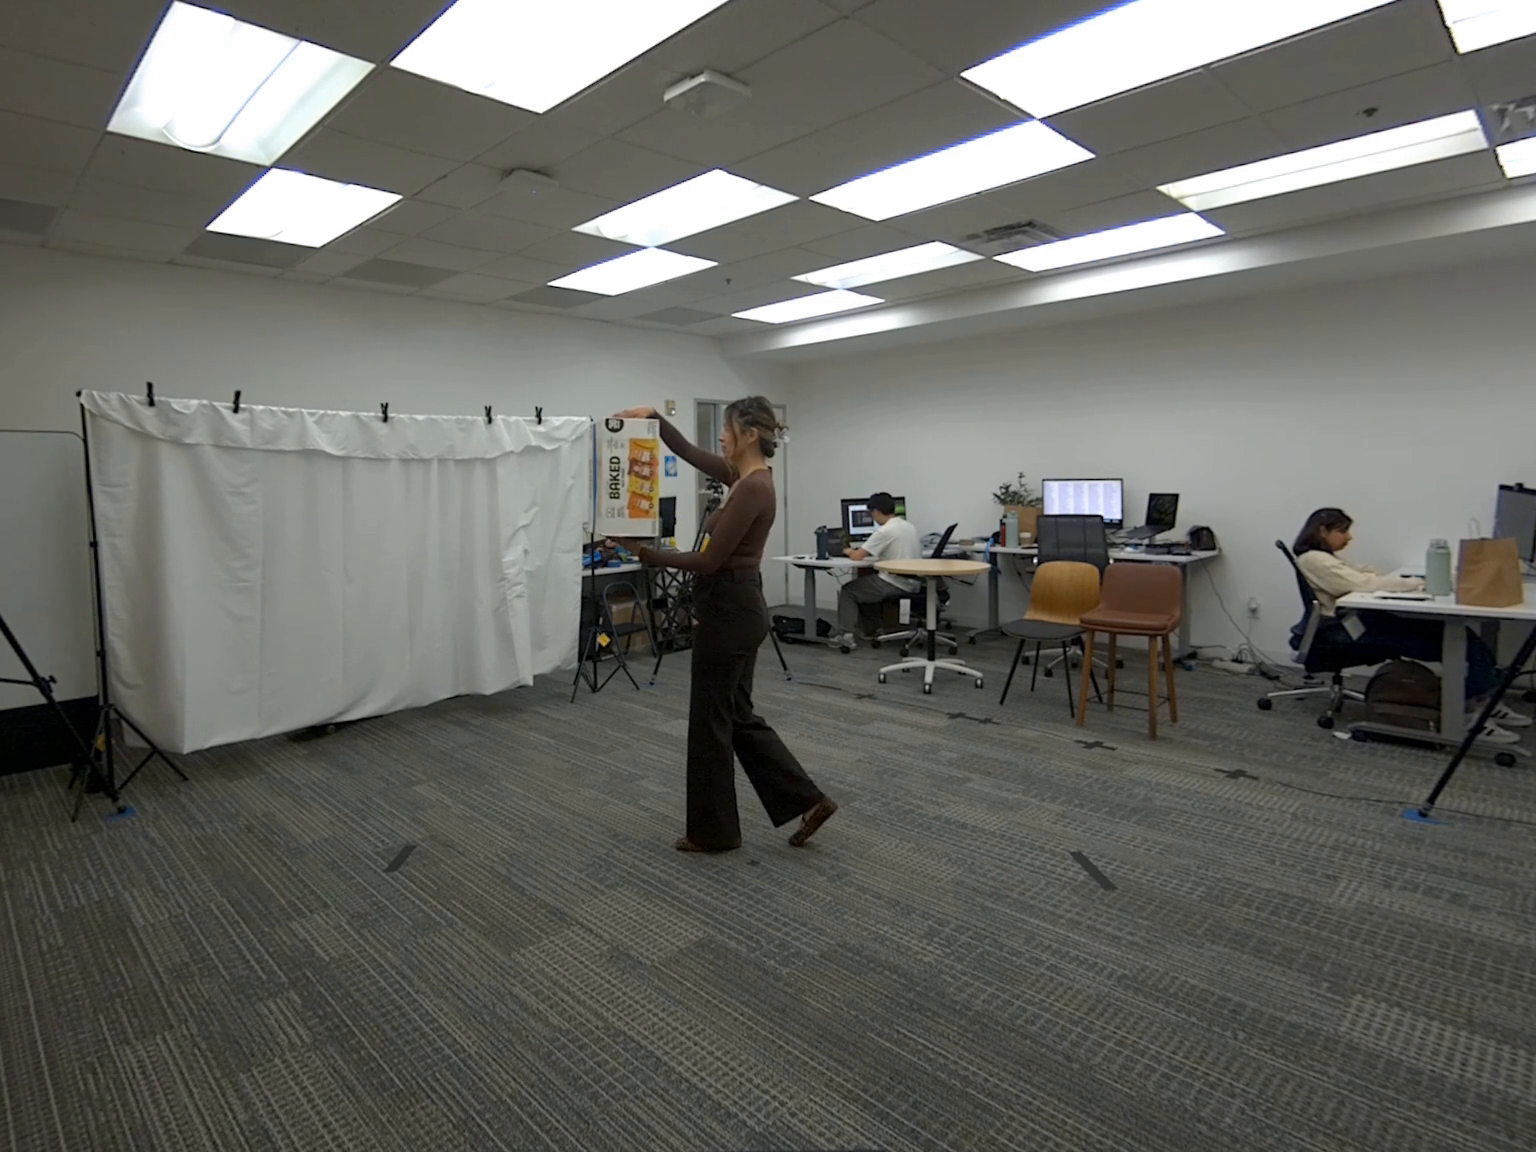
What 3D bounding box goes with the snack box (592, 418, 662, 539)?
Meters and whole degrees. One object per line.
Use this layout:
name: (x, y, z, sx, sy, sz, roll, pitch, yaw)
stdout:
snack box: (-0.526, -0.354, 3.103, 0.202, 0.404, 0.347, 1, 2, -19)
